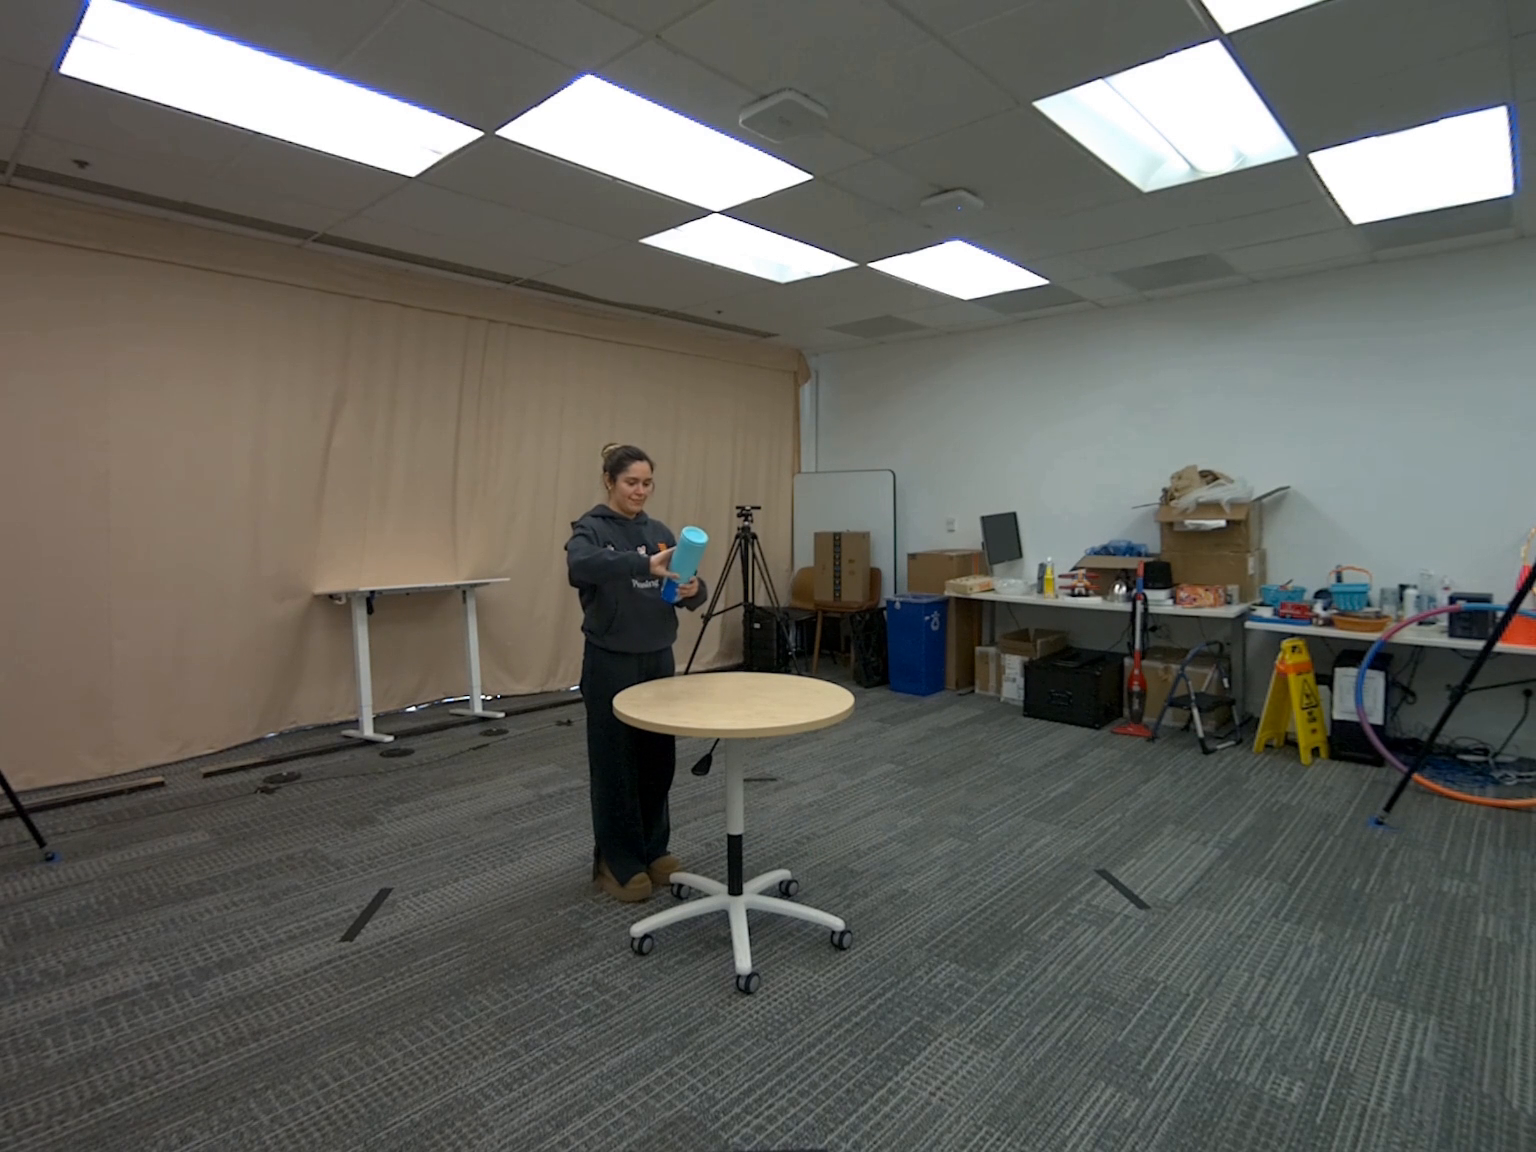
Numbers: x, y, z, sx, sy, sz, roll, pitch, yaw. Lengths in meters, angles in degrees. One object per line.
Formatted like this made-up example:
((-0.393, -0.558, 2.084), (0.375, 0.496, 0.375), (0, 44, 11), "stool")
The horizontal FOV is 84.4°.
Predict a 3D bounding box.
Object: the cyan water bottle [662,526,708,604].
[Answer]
((-0.280, -0.029, 2.800), (0.091, 0.282, 0.094), (16, 31, -12), "cyan water bottle")
